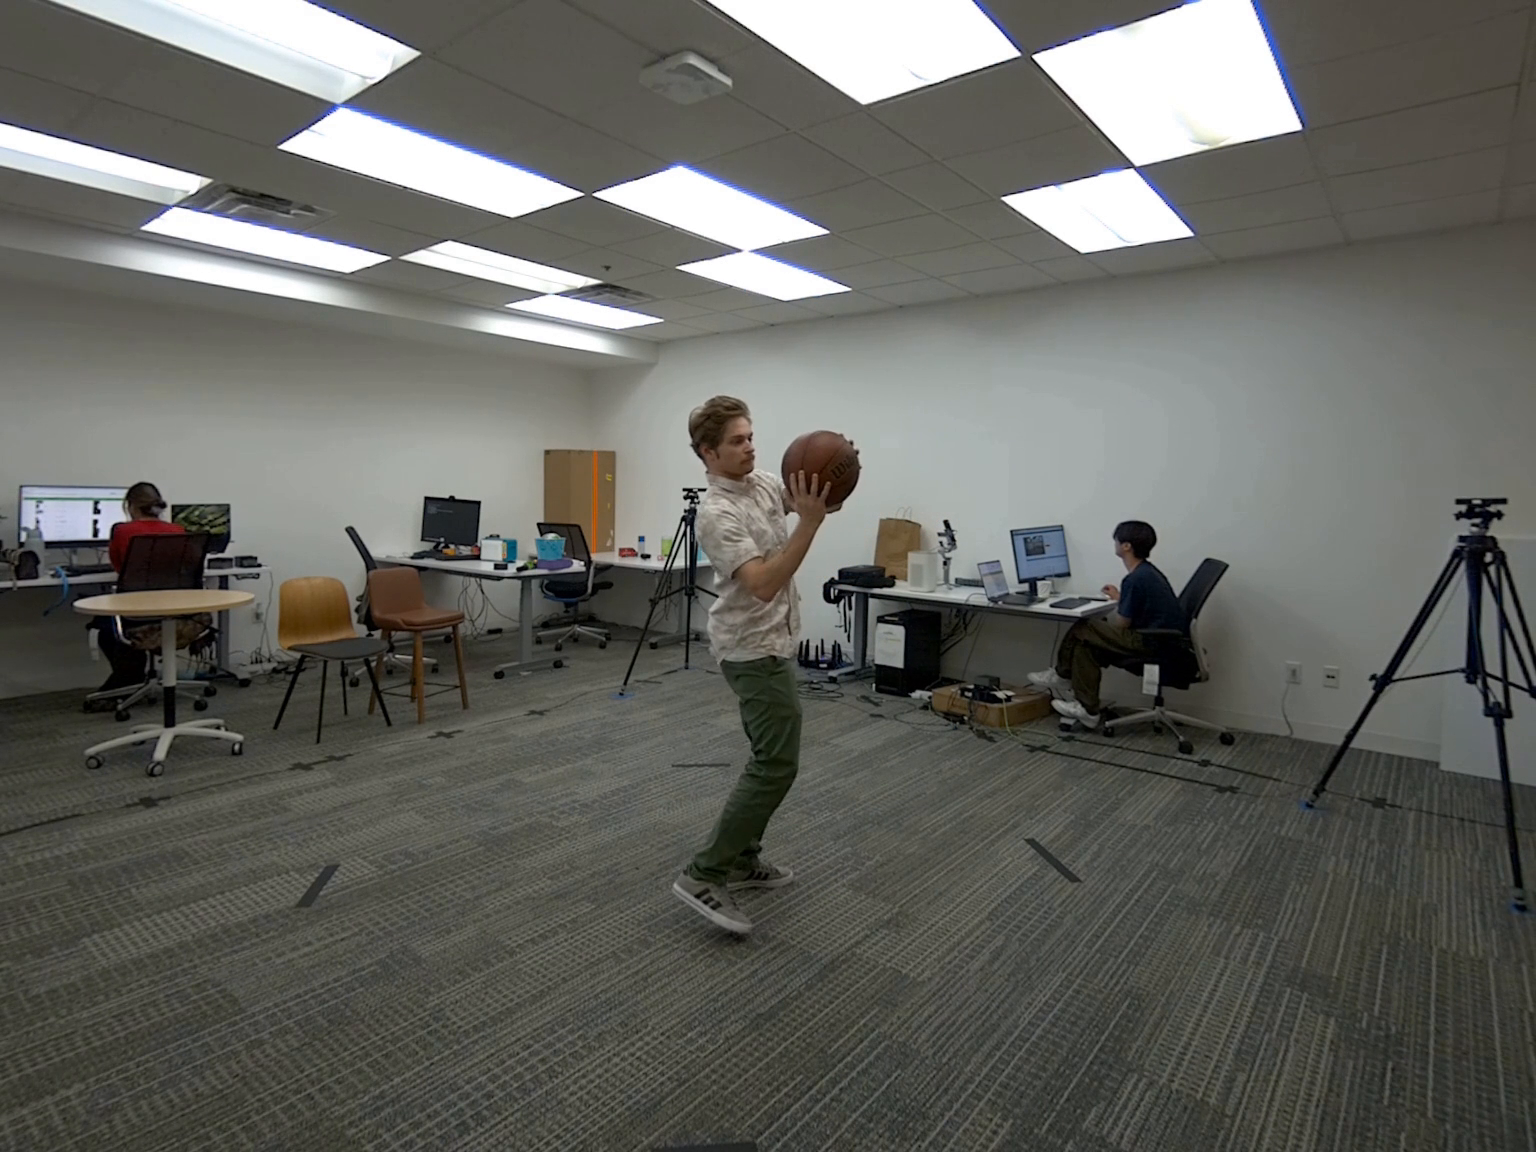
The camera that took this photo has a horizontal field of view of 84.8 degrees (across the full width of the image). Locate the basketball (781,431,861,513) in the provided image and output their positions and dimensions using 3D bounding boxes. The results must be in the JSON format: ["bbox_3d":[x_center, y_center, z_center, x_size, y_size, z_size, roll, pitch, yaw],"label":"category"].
[{"bbox_3d":[0.158,-0.330,2.598,0.235,0.235,0.237,1,4,-2],"label":"basketball"}]
